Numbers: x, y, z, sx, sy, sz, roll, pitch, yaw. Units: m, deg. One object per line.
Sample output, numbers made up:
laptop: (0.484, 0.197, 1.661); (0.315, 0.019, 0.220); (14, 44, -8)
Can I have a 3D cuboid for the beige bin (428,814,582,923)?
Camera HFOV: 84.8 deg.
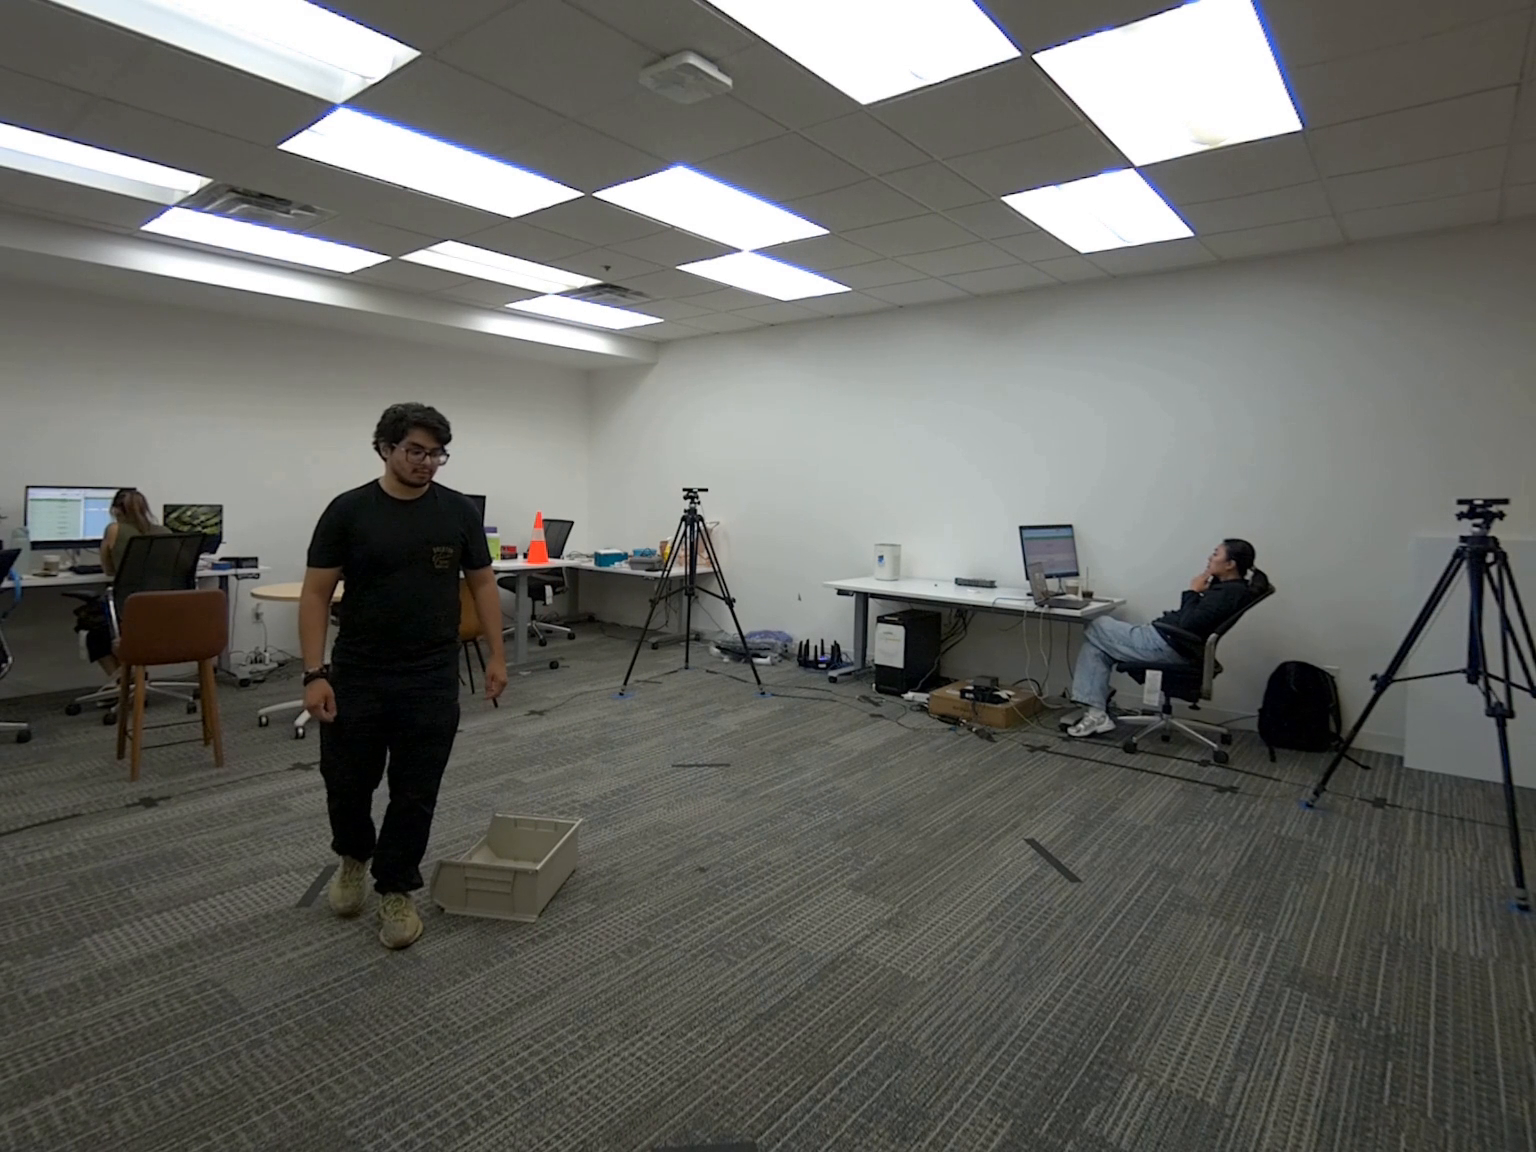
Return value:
beige bin: (-0.905, 0.991, 2.928); (0.381, 0.188, 0.419); (2, 5, 8)
